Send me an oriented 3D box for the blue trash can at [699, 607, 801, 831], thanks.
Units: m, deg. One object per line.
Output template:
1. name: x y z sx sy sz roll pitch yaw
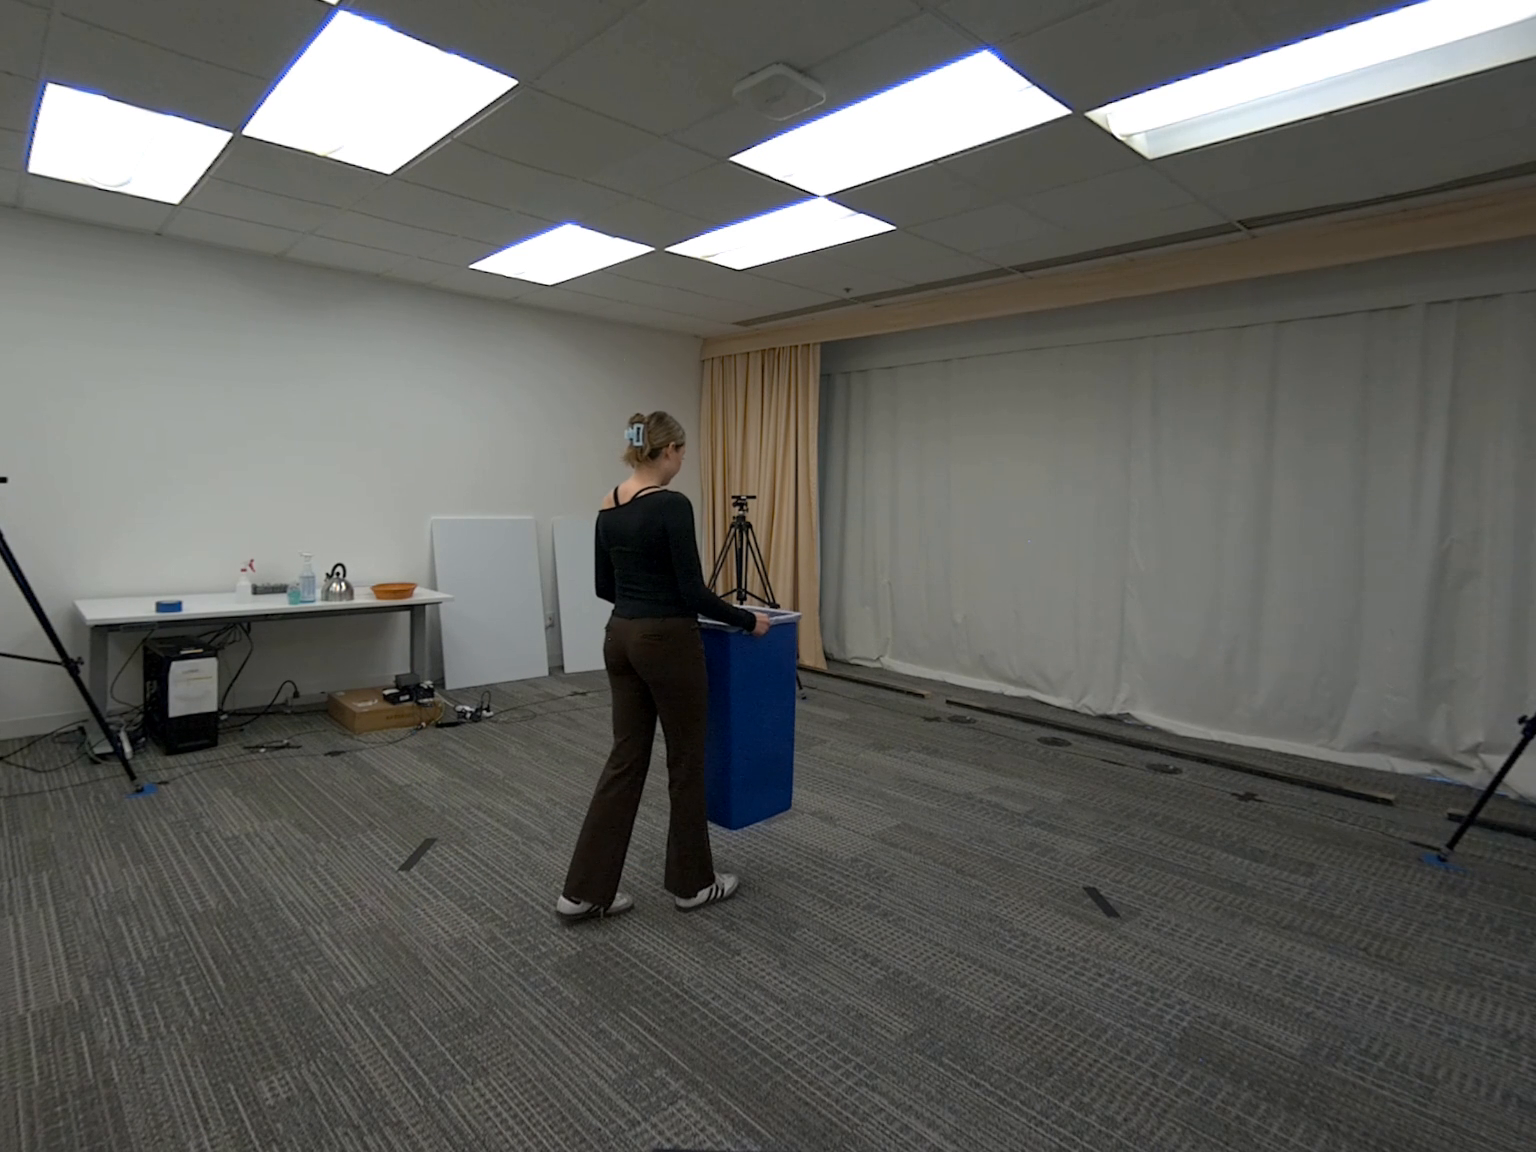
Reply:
1. blue trash can: -0.132 0.492 3.043 0.369 0.712 0.383 -3 5 -45
